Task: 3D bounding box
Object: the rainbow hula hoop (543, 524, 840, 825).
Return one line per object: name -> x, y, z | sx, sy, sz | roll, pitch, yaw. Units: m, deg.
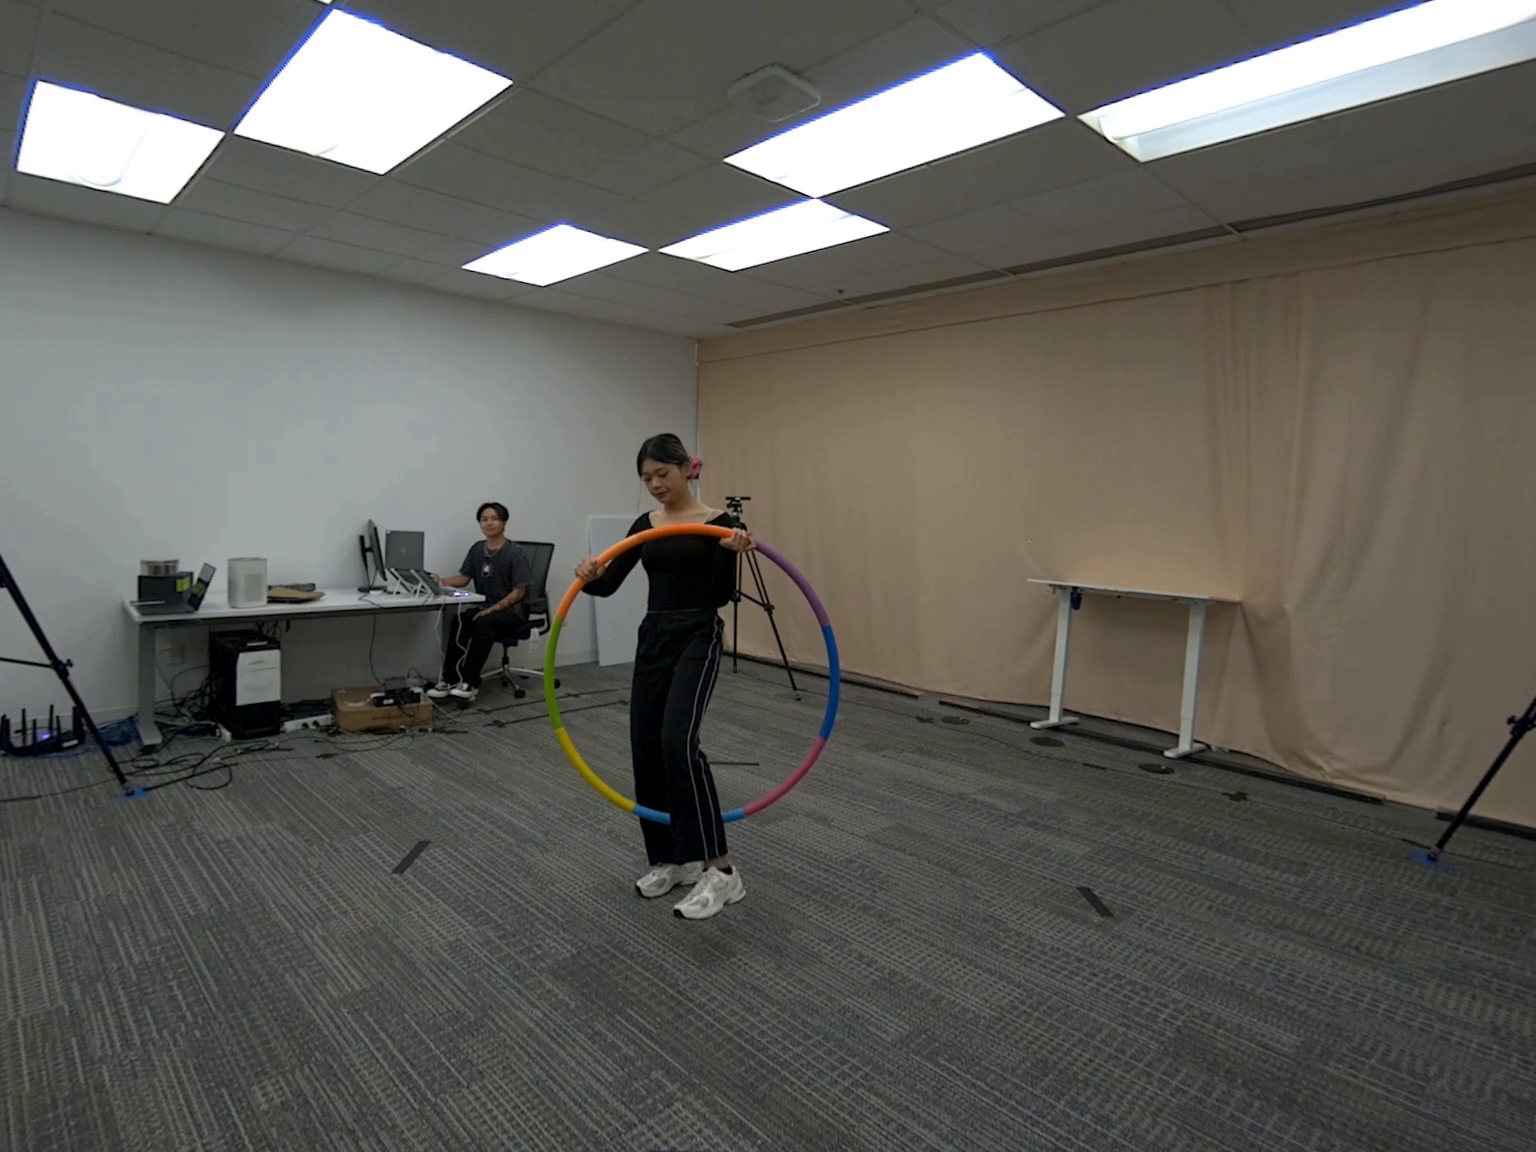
rainbow hula hoop -> -0.254, 0.333, 2.761 | 0.982, 0.978, 0.035 | 2, 0, 4
